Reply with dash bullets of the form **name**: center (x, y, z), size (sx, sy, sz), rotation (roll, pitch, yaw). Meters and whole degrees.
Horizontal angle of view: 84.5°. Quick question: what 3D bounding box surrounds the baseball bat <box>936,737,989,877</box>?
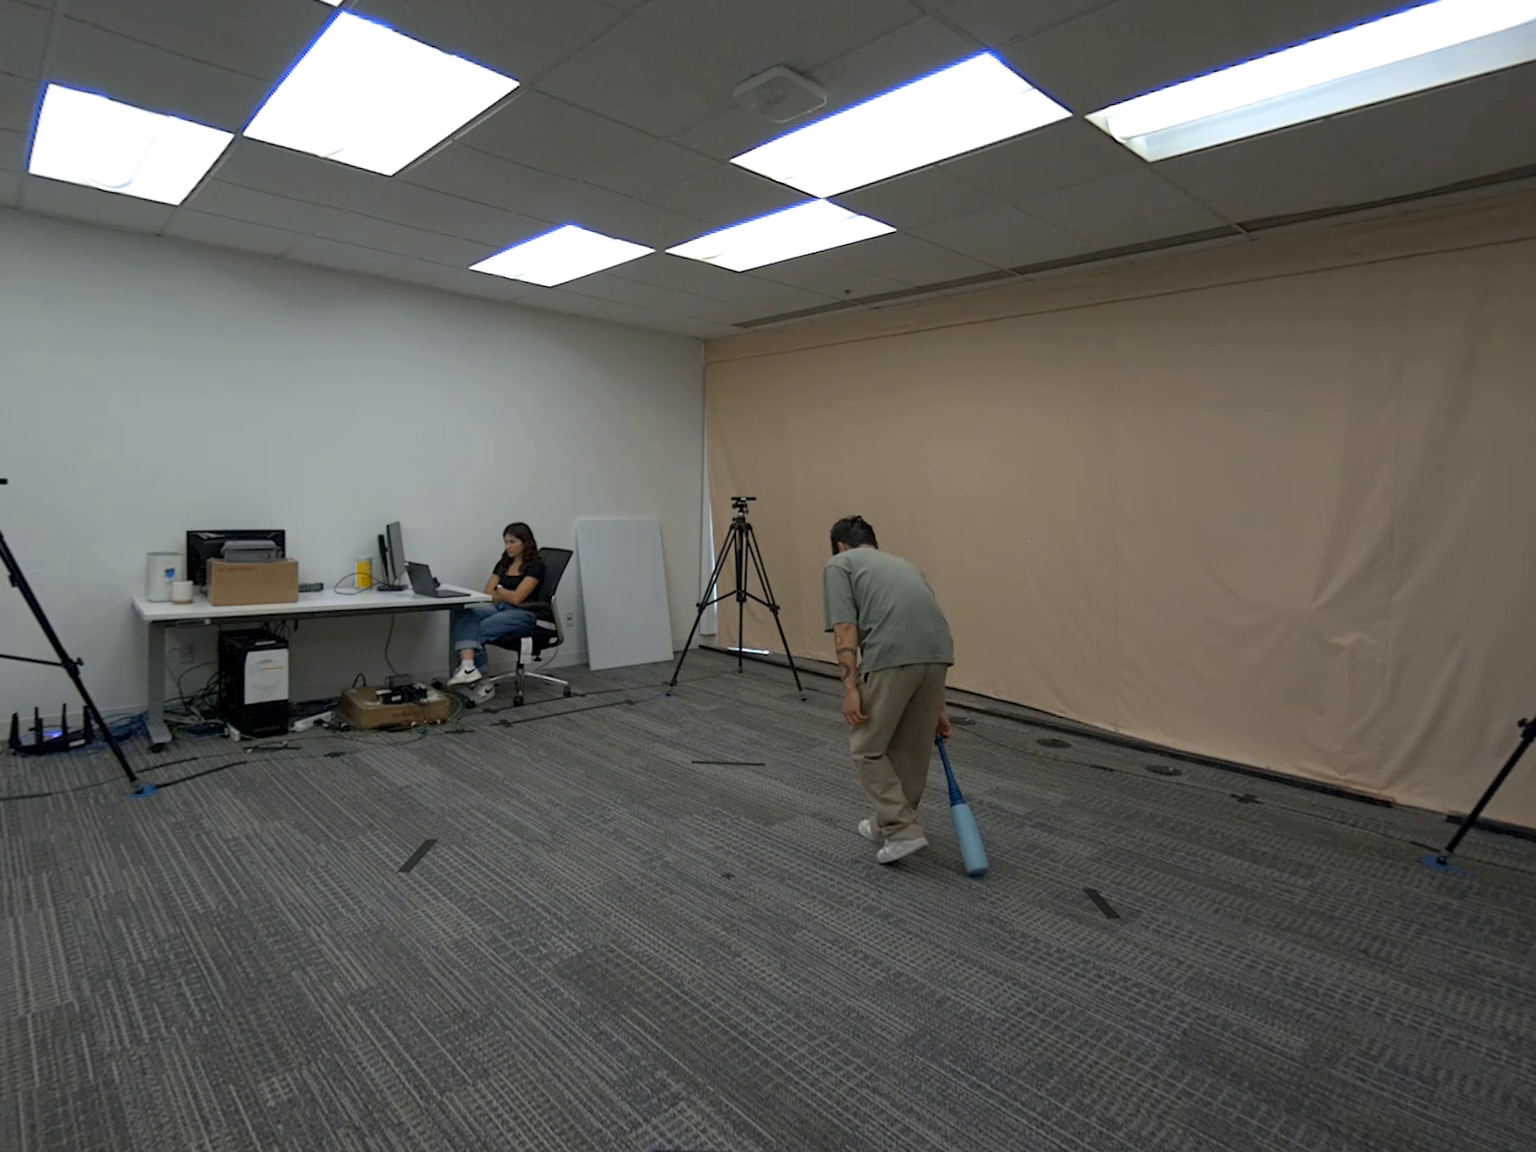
- **baseball bat**: center (0.732, 0.884, 3.299), size (0.089, 0.556, 0.087), rotation (-8, -34, -6)
